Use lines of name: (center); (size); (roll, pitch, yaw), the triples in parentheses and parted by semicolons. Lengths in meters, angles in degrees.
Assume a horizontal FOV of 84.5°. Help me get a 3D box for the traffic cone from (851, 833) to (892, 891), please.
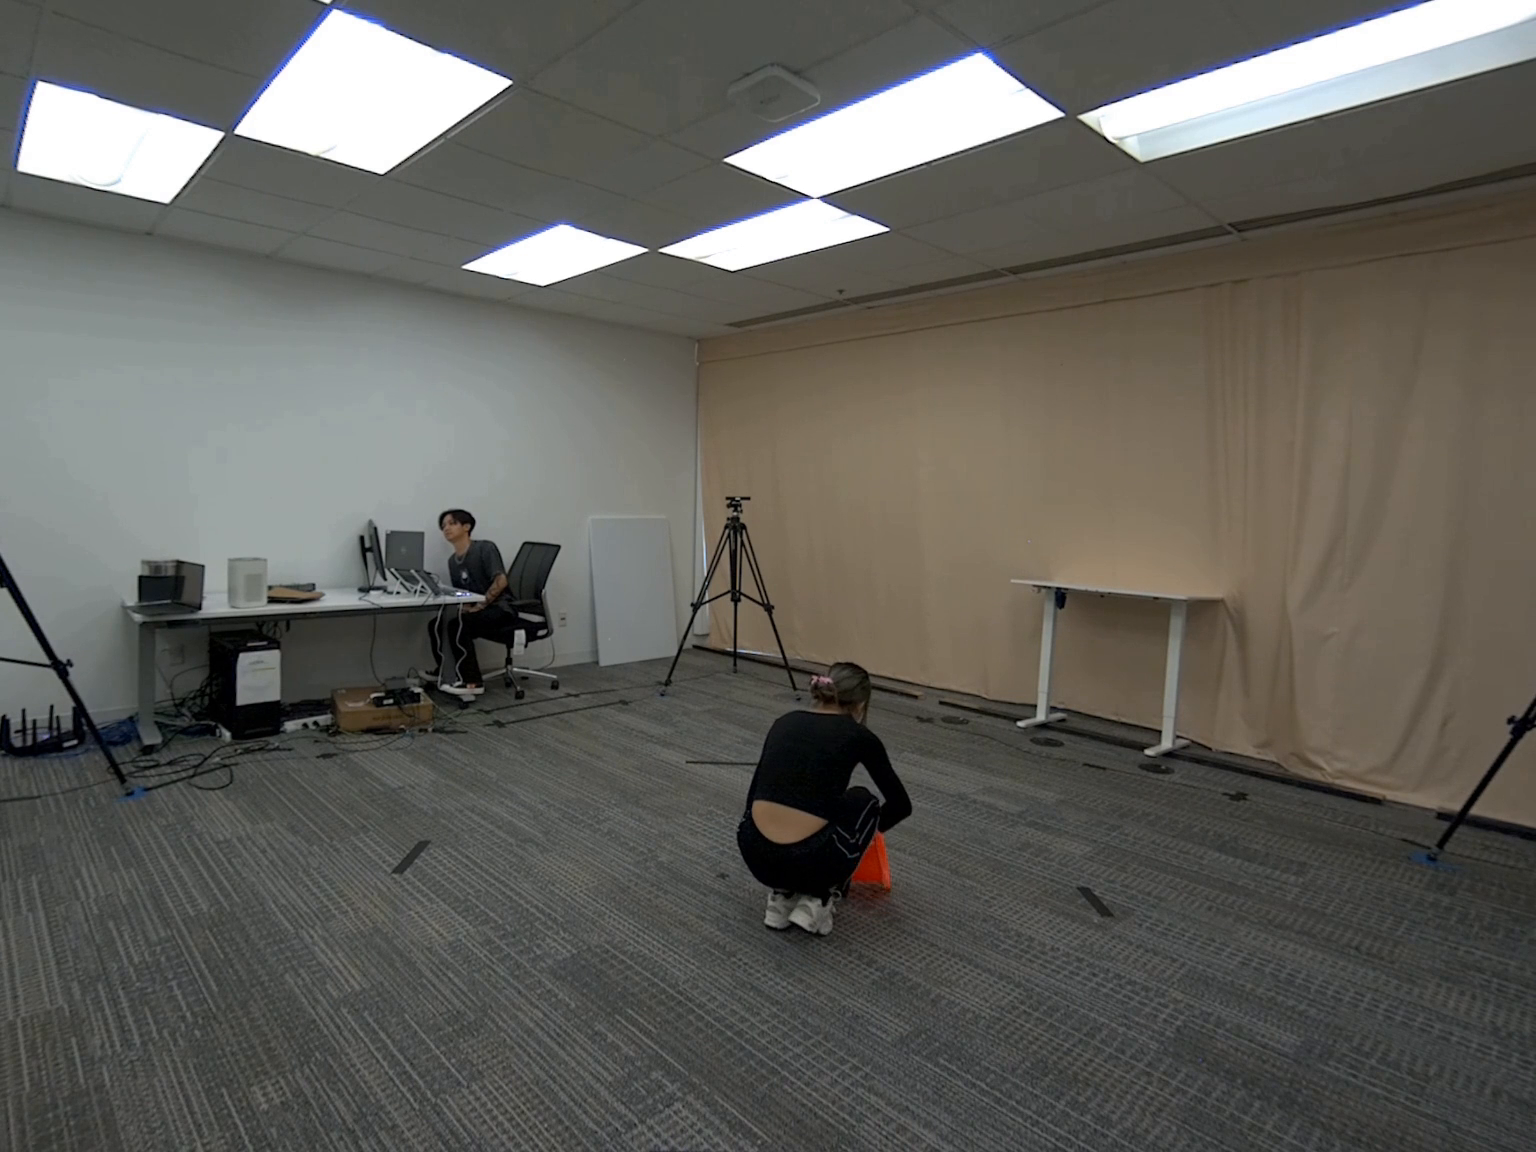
traffic cone: (0.220, 1.052, 3.029); (0.386, 0.208, 0.199); (-16, -29, 12)
